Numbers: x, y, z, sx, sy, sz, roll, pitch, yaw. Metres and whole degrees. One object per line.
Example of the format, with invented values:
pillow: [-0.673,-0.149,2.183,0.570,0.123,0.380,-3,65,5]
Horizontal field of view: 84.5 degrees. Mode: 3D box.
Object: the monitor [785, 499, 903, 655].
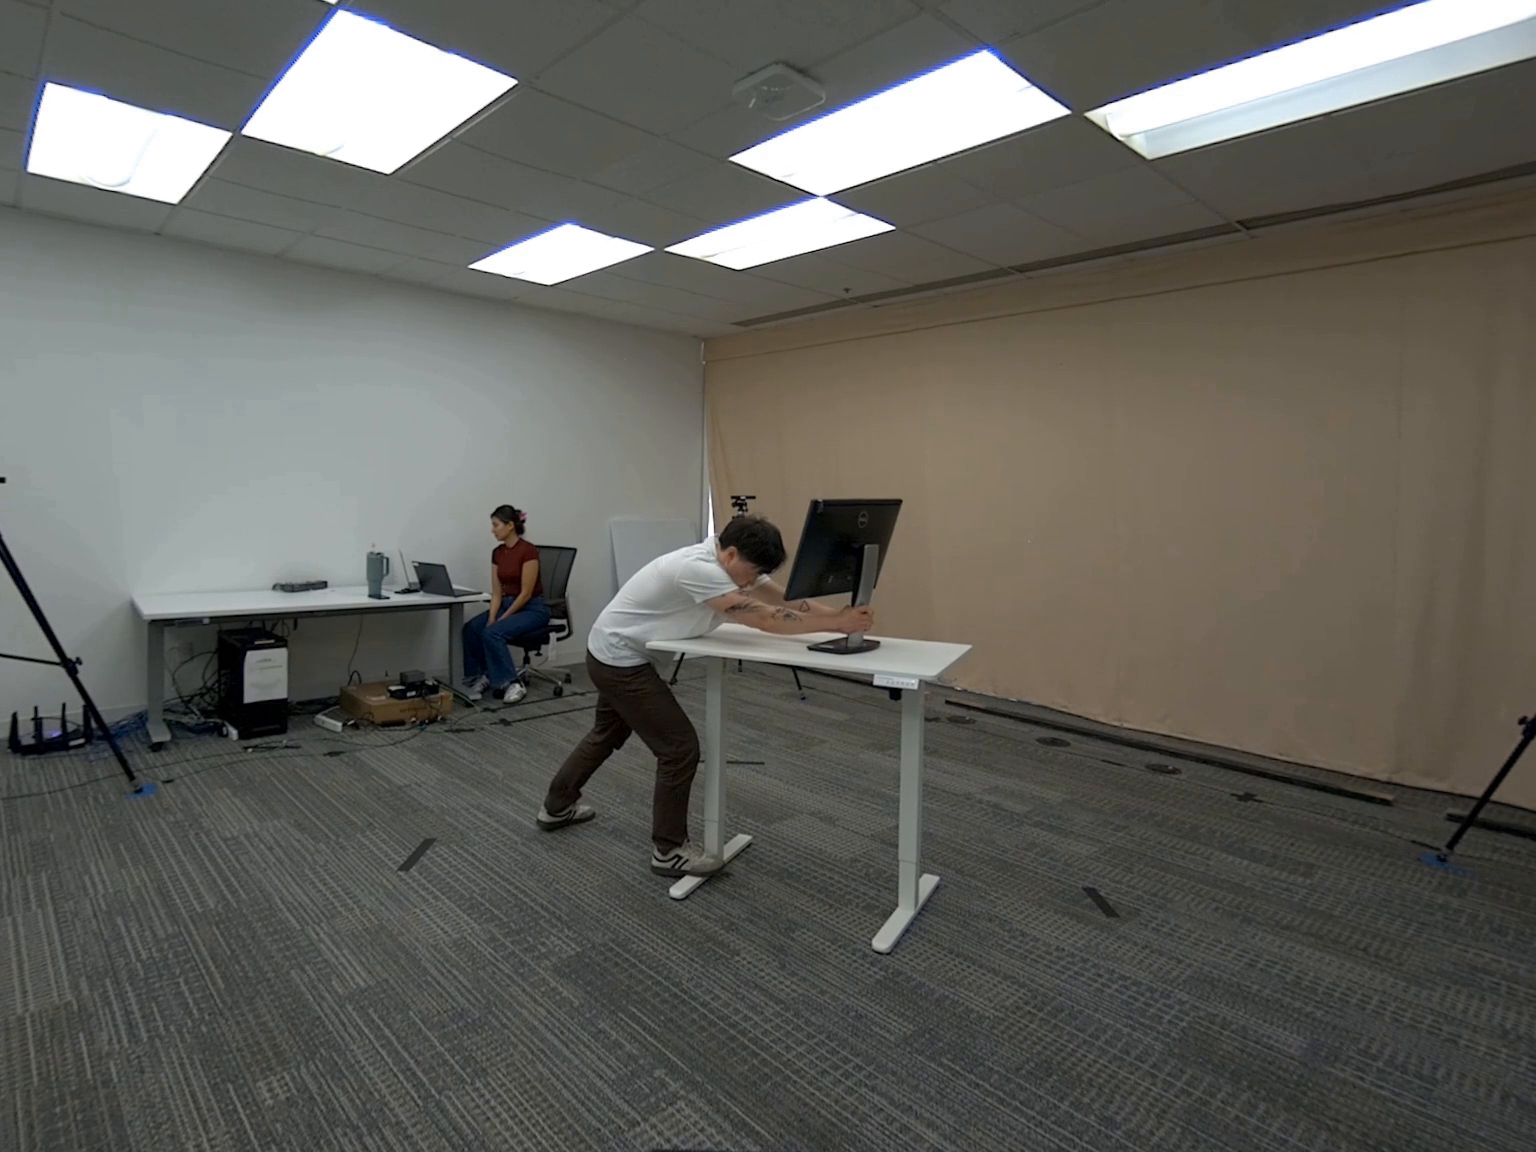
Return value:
monitor: [0.281,-0.005,2.887,0.192,0.520,0.528,9,9,37]
